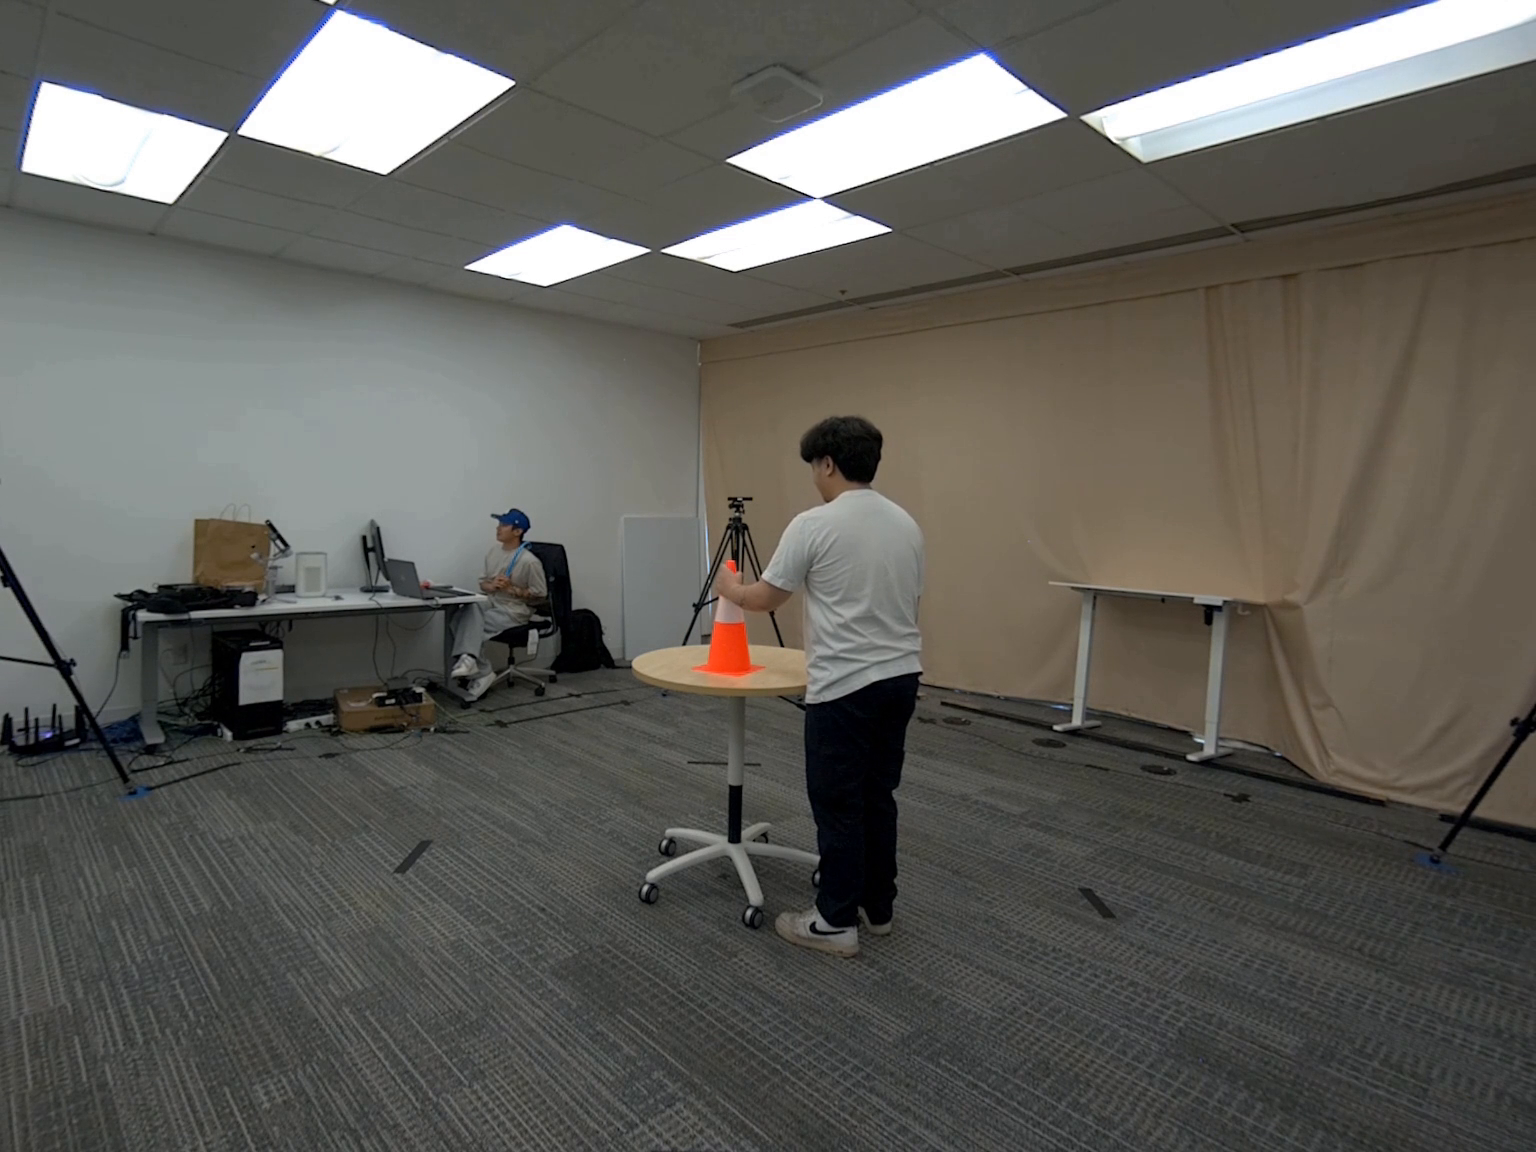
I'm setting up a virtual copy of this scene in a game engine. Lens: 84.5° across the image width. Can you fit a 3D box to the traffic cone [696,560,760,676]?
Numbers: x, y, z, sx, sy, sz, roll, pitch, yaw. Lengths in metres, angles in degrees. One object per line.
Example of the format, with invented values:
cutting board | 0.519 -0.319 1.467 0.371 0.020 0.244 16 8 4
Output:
traffic cone | -0.138 0.138 2.942 0.208 0.383 0.201 5 4 30
